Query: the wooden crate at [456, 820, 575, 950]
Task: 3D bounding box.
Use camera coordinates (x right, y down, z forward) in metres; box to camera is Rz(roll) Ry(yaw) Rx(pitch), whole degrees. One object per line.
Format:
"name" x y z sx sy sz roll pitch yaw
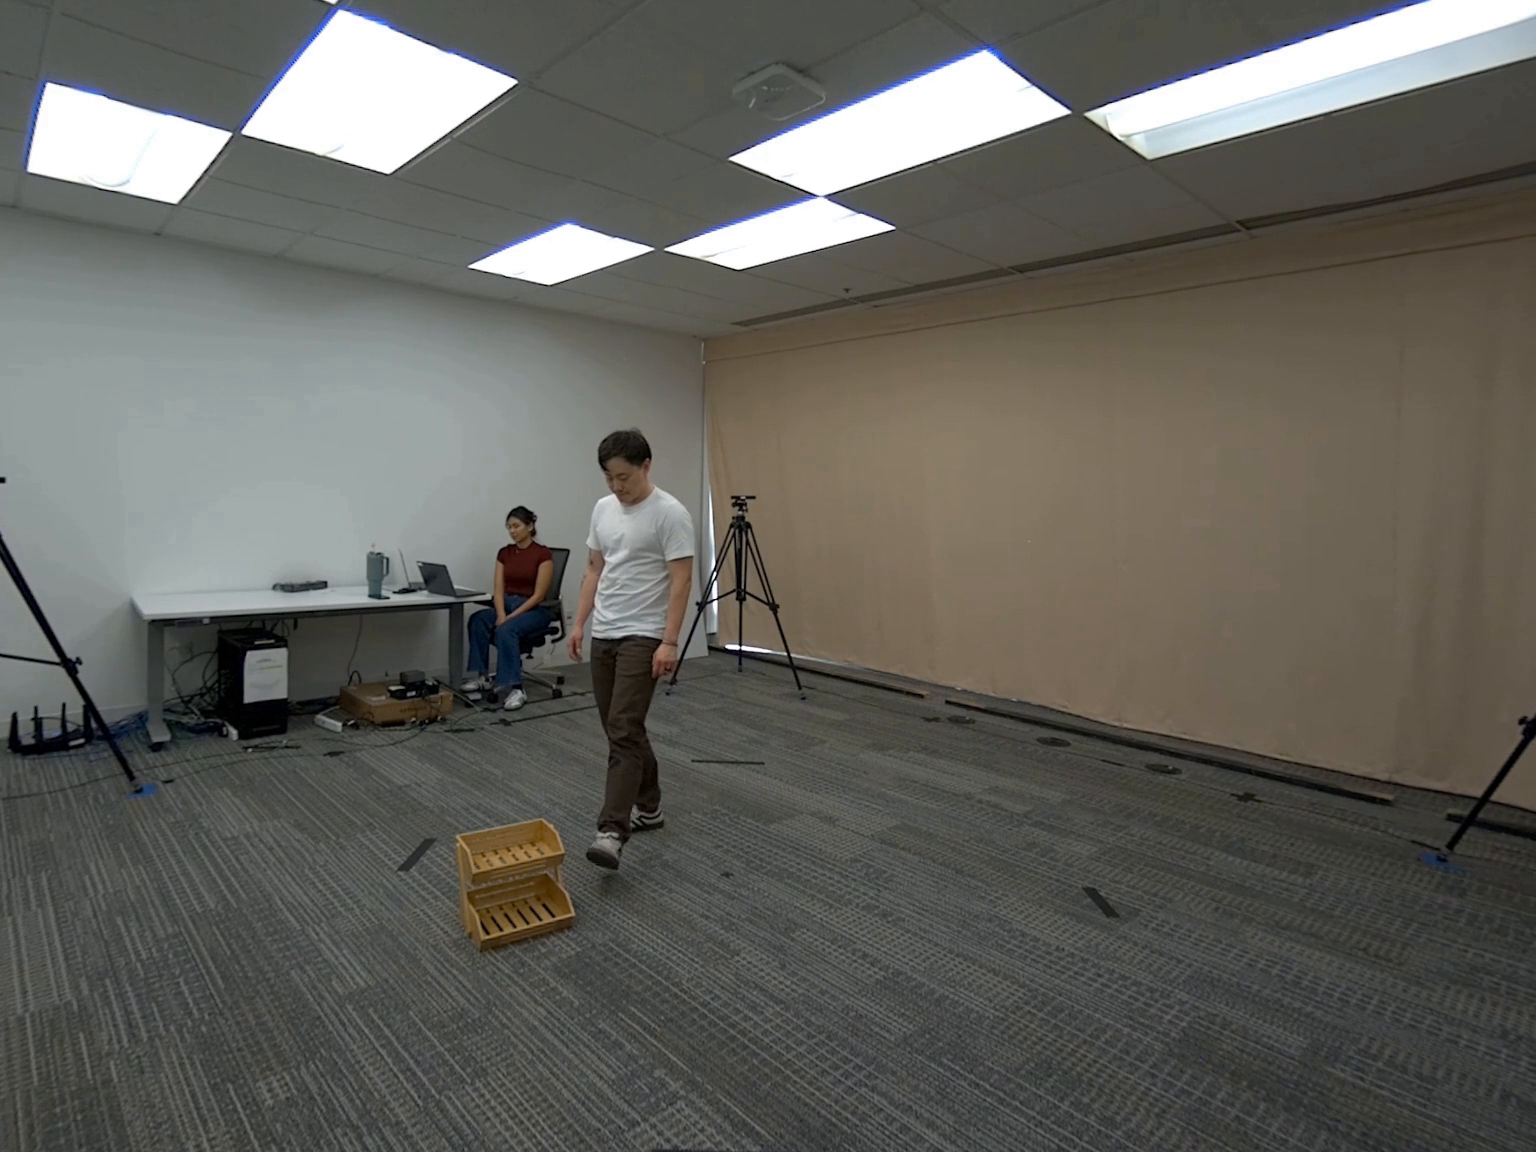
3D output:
"wooden crate" -0.829 0.991 2.723 0.317 0.273 0.309 -1 5 -35
